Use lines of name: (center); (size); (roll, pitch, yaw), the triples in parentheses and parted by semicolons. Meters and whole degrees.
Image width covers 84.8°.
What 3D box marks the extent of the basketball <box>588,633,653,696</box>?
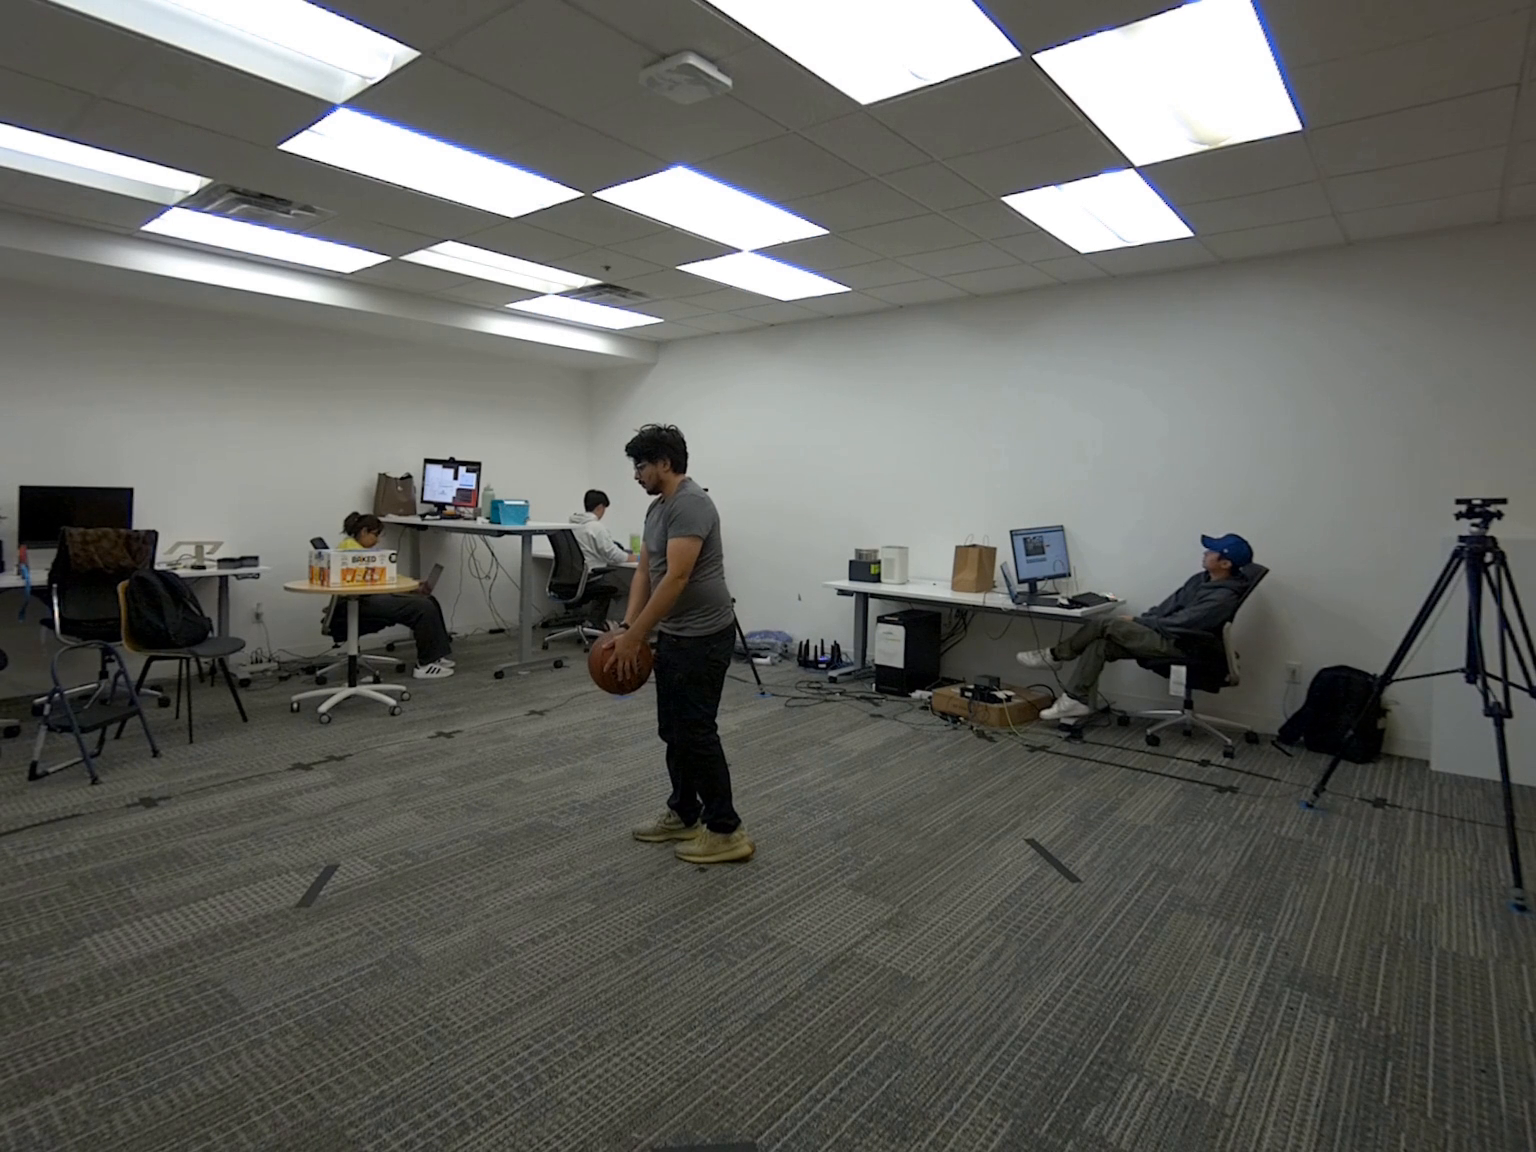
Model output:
basketball: (-0.559, 0.305, 3.130); (0.235, 0.235, 0.237); (1, 4, -2)
